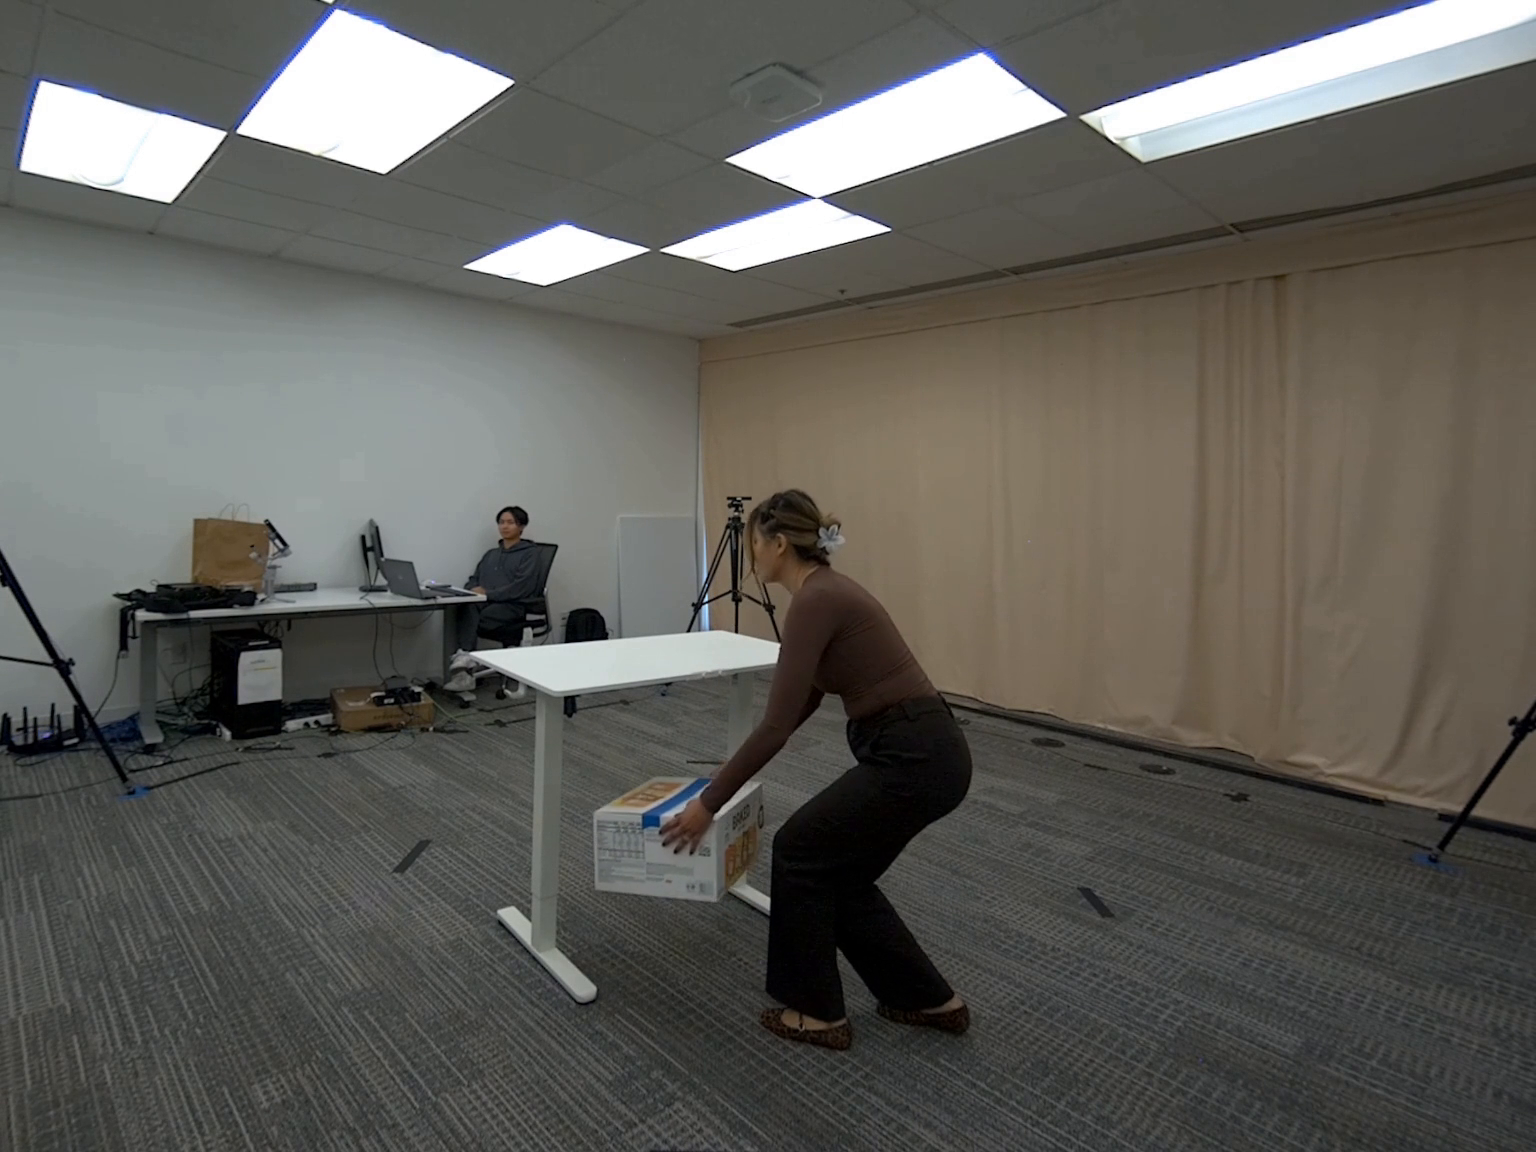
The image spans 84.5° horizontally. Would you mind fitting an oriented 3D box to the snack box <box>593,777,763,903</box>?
[{"bbox_3d":[-0.231,0.706,2.304,0.345,0.206,0.399,-3,0,18],"label":"snack box"}]
